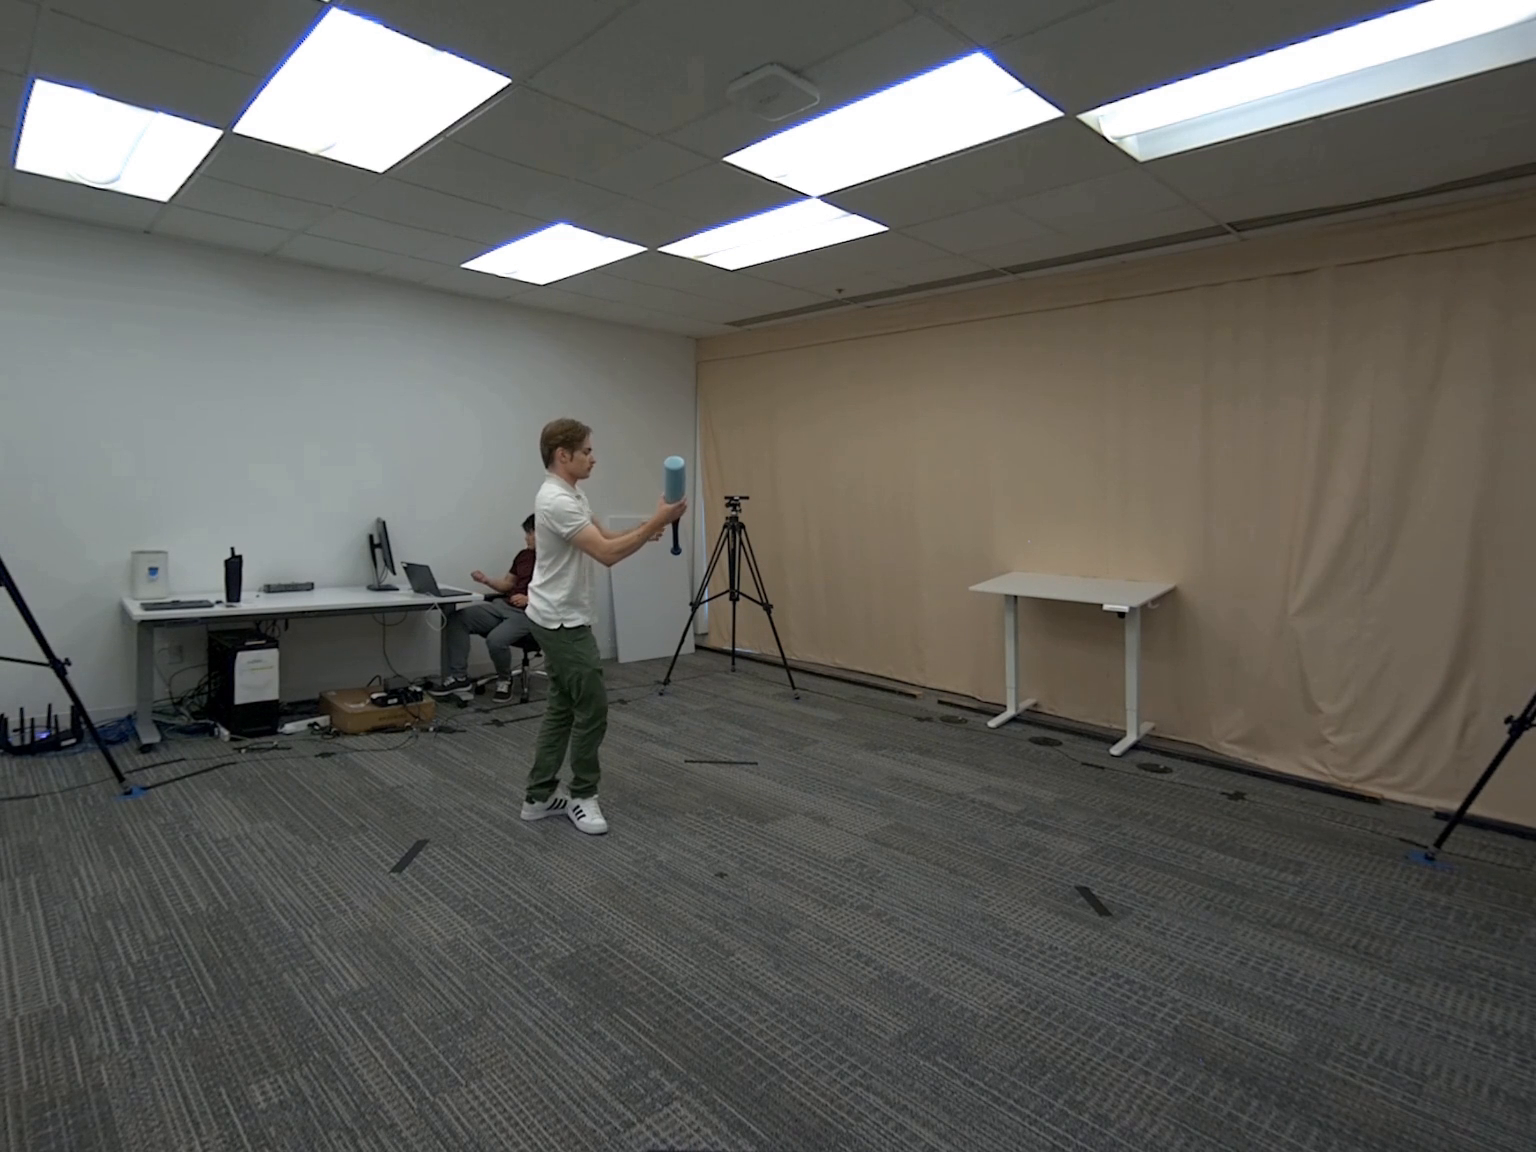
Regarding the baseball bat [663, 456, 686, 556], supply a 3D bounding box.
[{"bbox_3d":[-0.411,-0.278,3.530,0.089,0.091,0.532,3,-41,-4],"label":"baseball bat"}]
